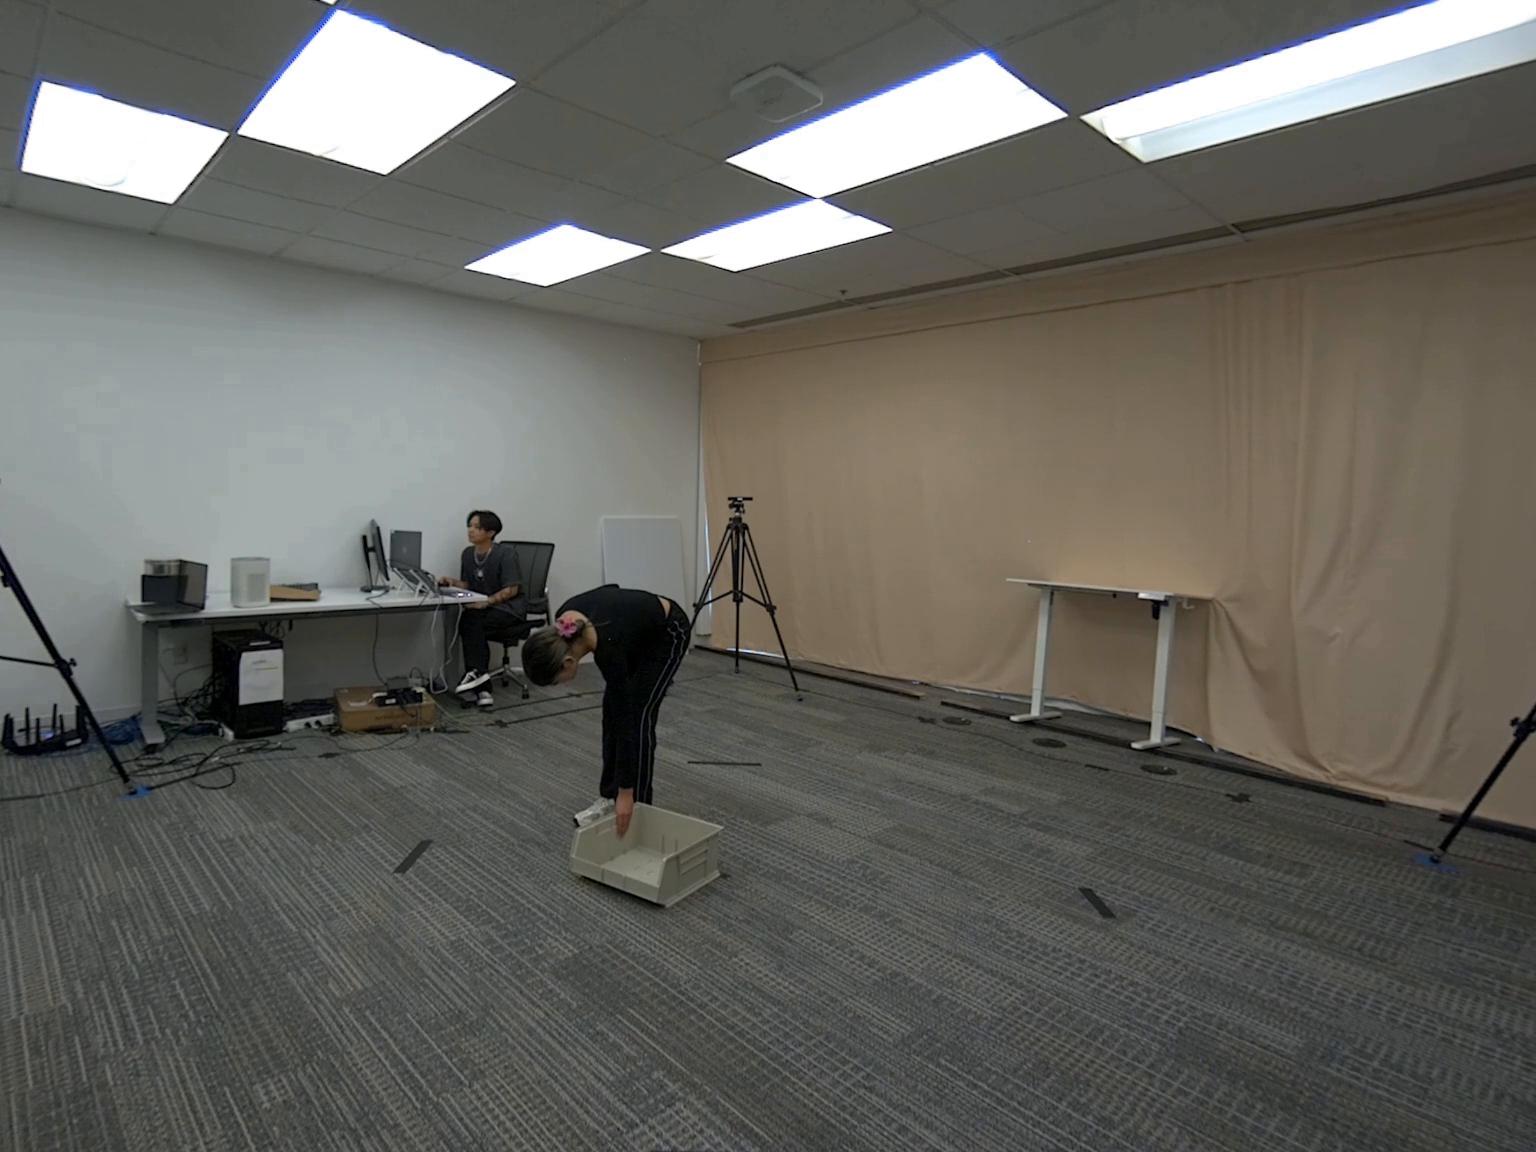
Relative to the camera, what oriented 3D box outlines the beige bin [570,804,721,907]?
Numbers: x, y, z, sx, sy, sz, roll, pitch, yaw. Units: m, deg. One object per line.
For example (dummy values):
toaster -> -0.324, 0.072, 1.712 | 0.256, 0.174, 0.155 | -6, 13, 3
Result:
beige bin -> -0.446, 1.016, 3.074 | 0.432, 0.188, 0.369 | 4, 5, 33
